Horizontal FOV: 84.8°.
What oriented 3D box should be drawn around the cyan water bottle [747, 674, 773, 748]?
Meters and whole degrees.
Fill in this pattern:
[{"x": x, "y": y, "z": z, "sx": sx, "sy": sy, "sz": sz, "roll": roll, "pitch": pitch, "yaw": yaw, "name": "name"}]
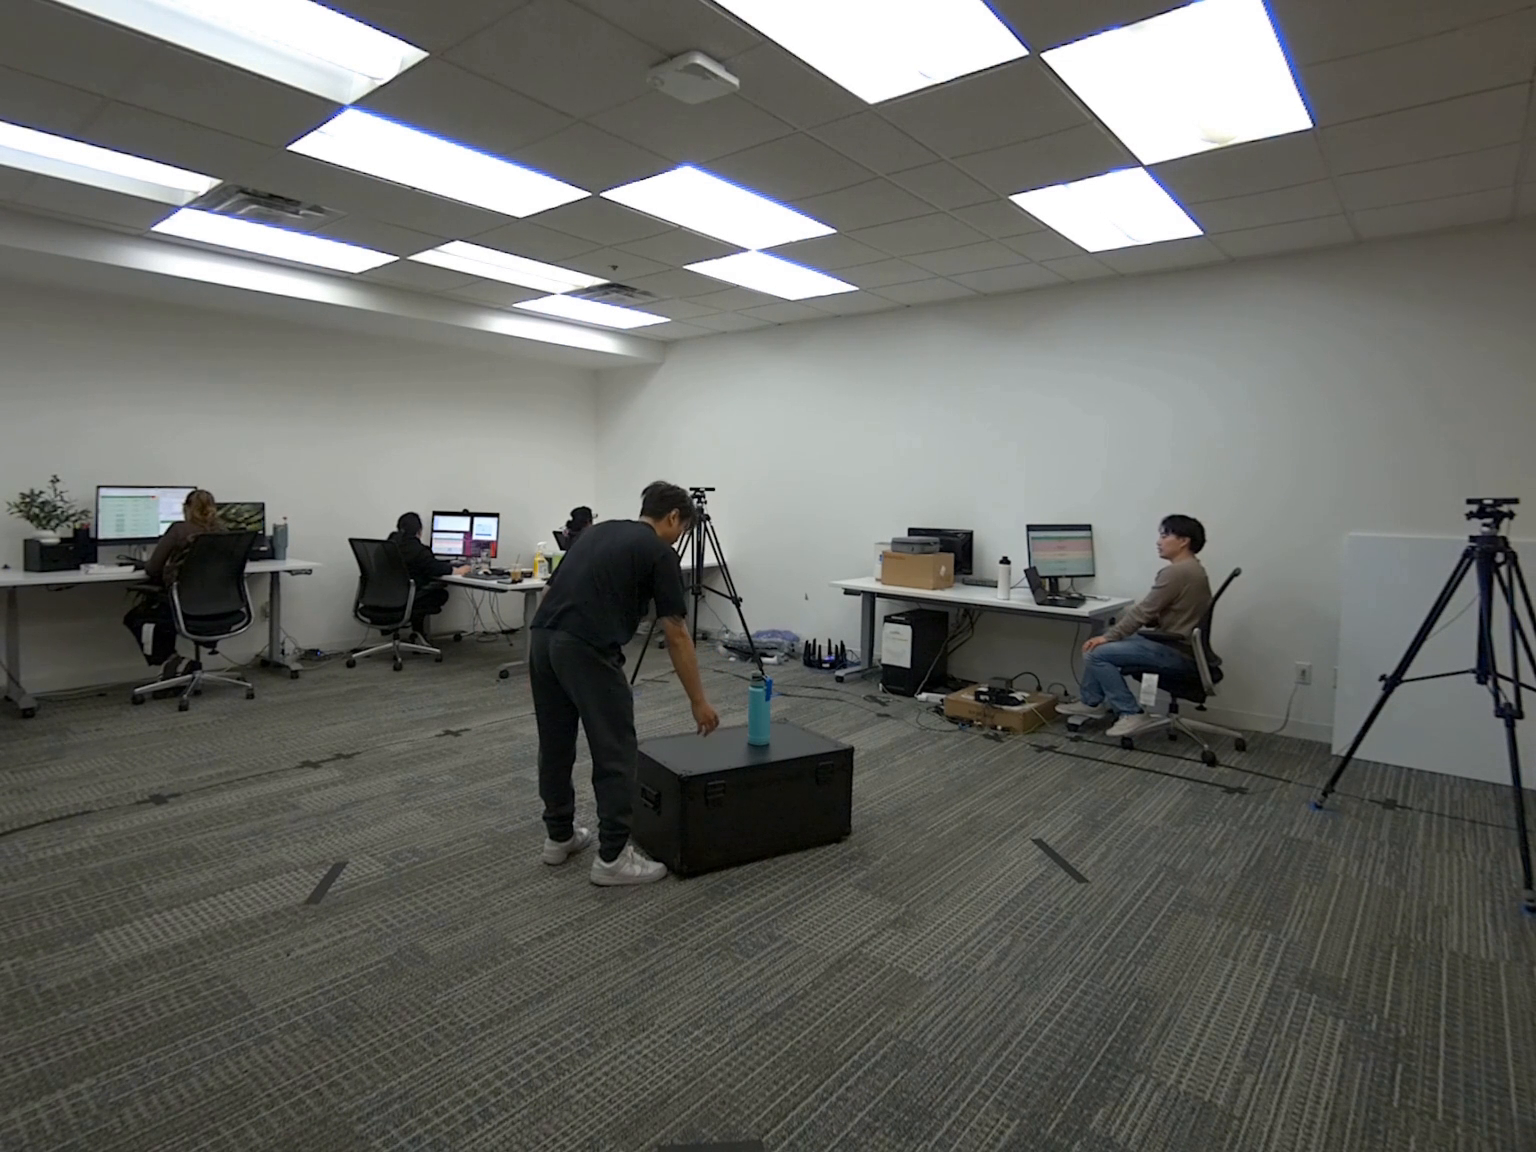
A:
[{"x": -0.045, "y": 0.526, "z": 3.419, "sx": 0.092, "sy": 0.283, "sz": 0.093, "roll": 3, "pitch": 3, "yaw": -2, "name": "cyan water bottle"}]
